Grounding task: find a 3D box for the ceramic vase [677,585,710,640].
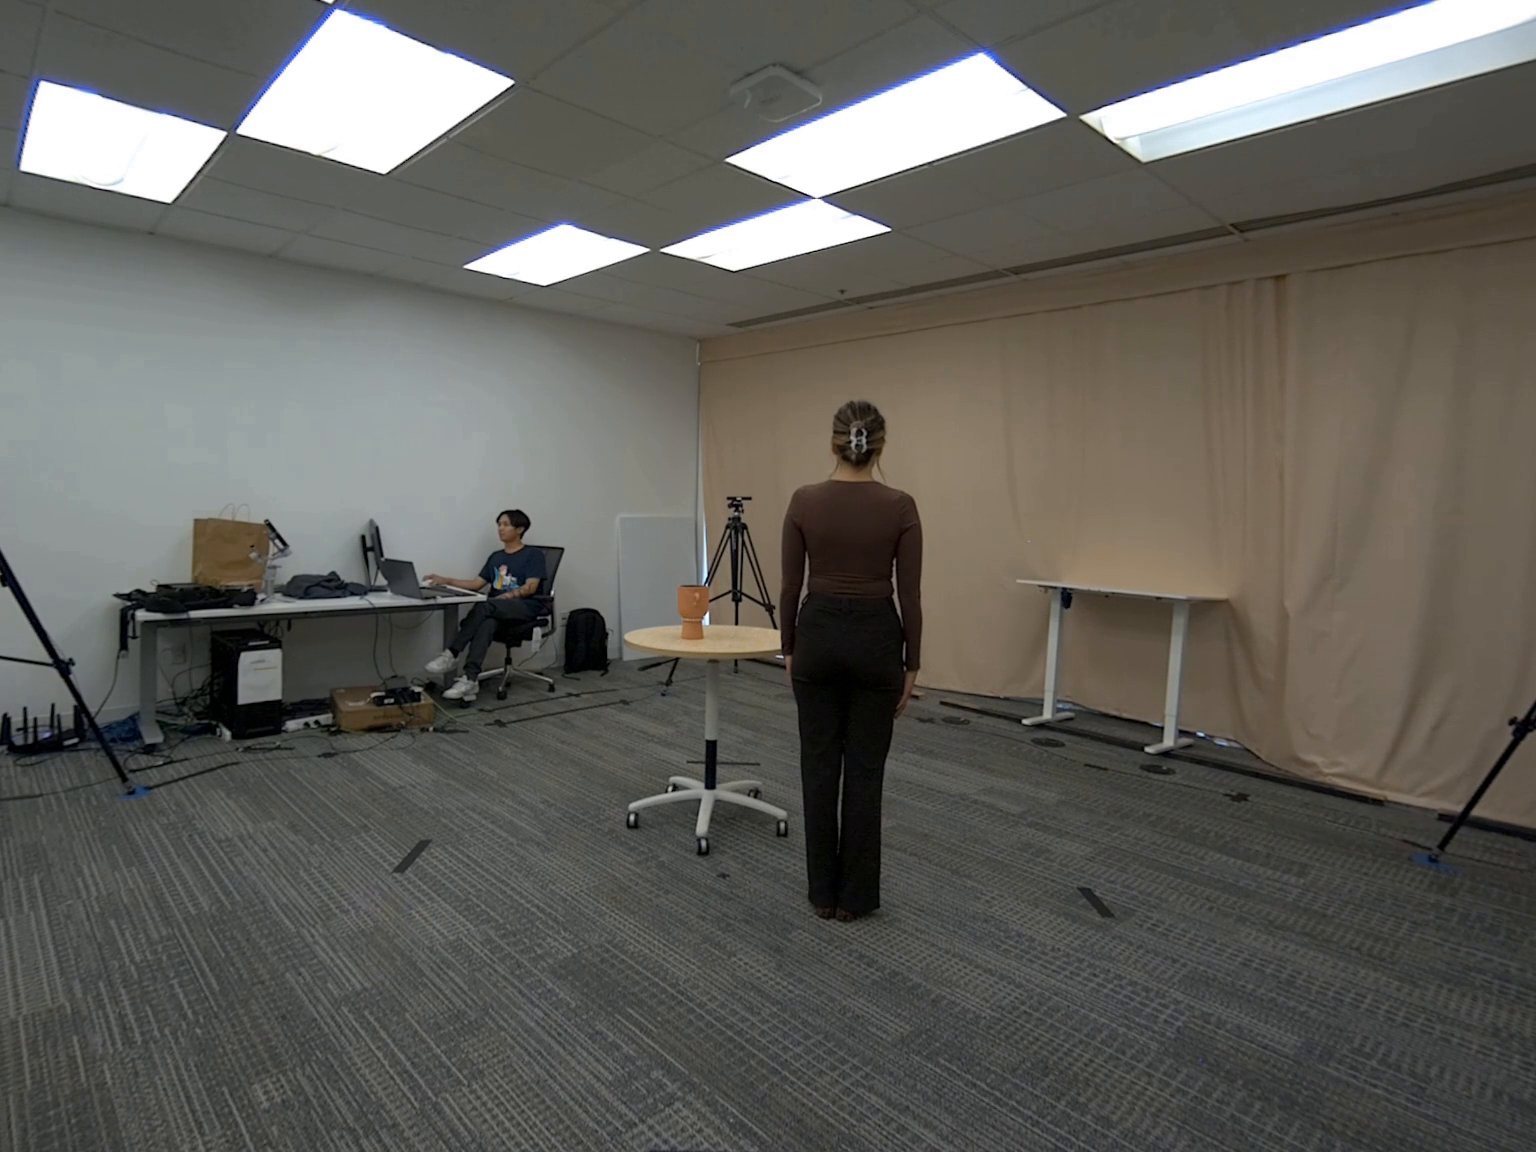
[{"bbox_3d":[-0.329,0.155,3.576,0.137,0.219,0.156,2,2,24],"label":"ceramic vase"}]
